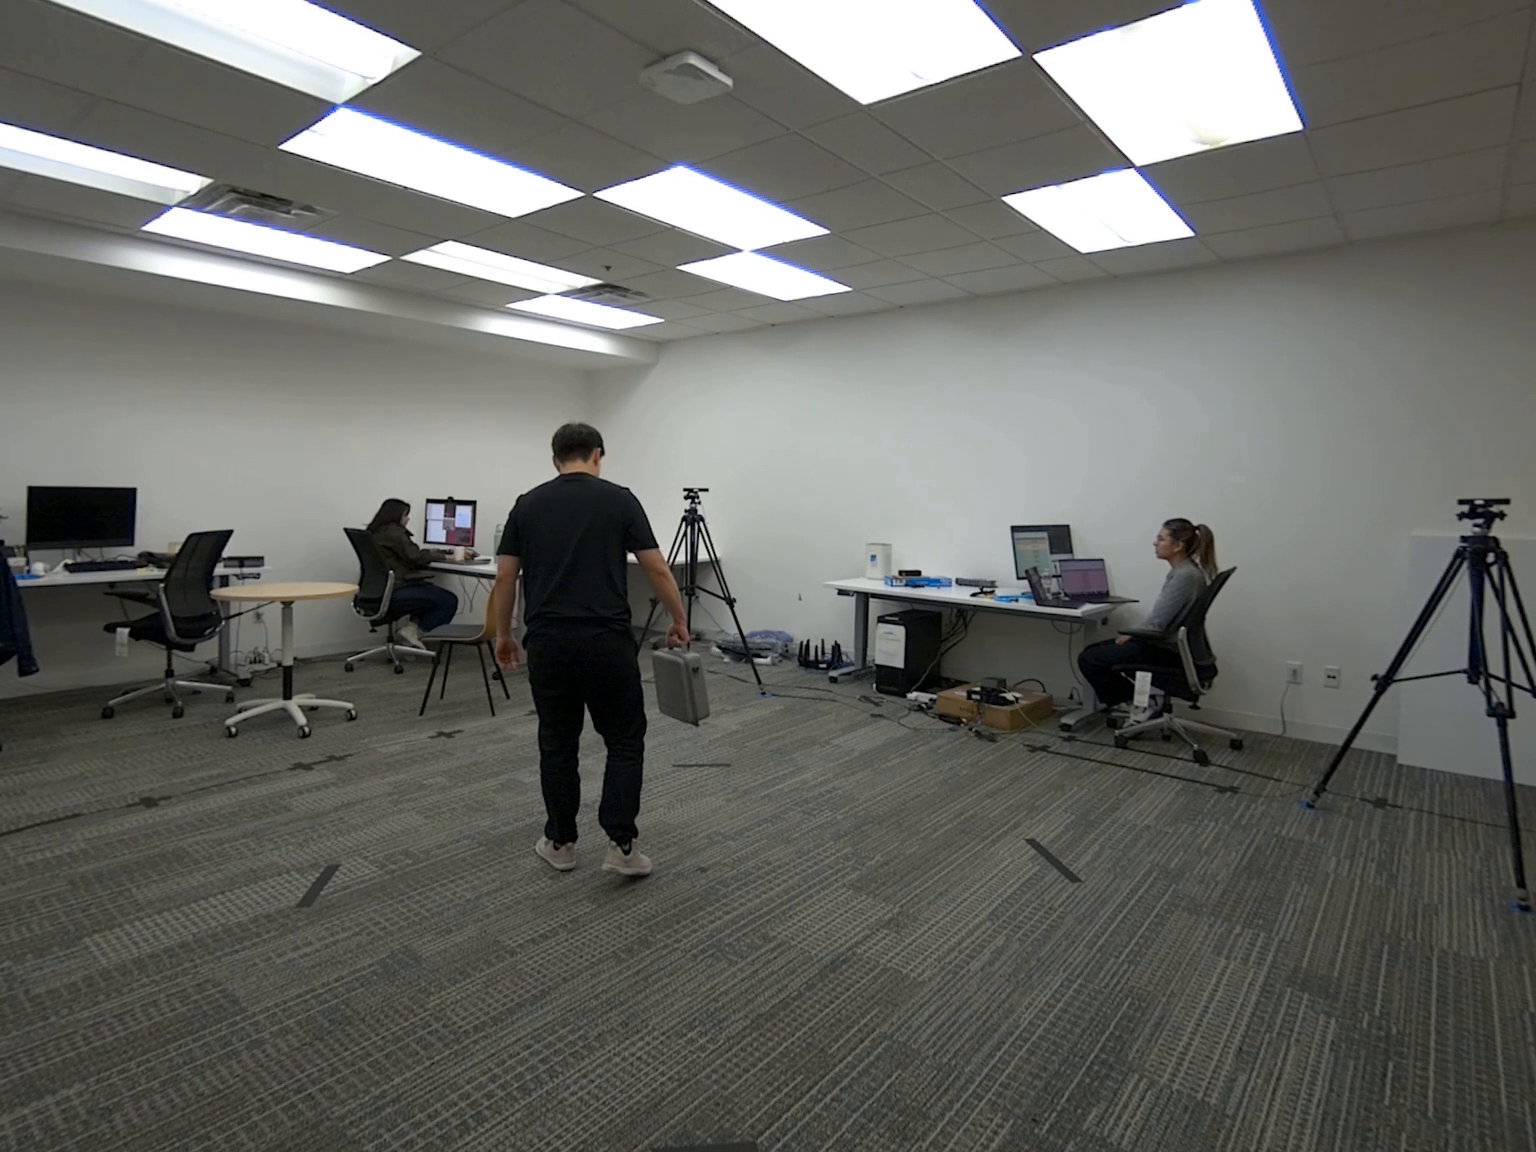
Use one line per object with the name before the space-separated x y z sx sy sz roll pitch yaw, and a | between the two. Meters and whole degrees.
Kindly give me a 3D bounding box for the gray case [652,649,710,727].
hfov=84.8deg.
gray case | -0.345 0.407 3.207 0.102 0.259 0.264 -7 6 -30
